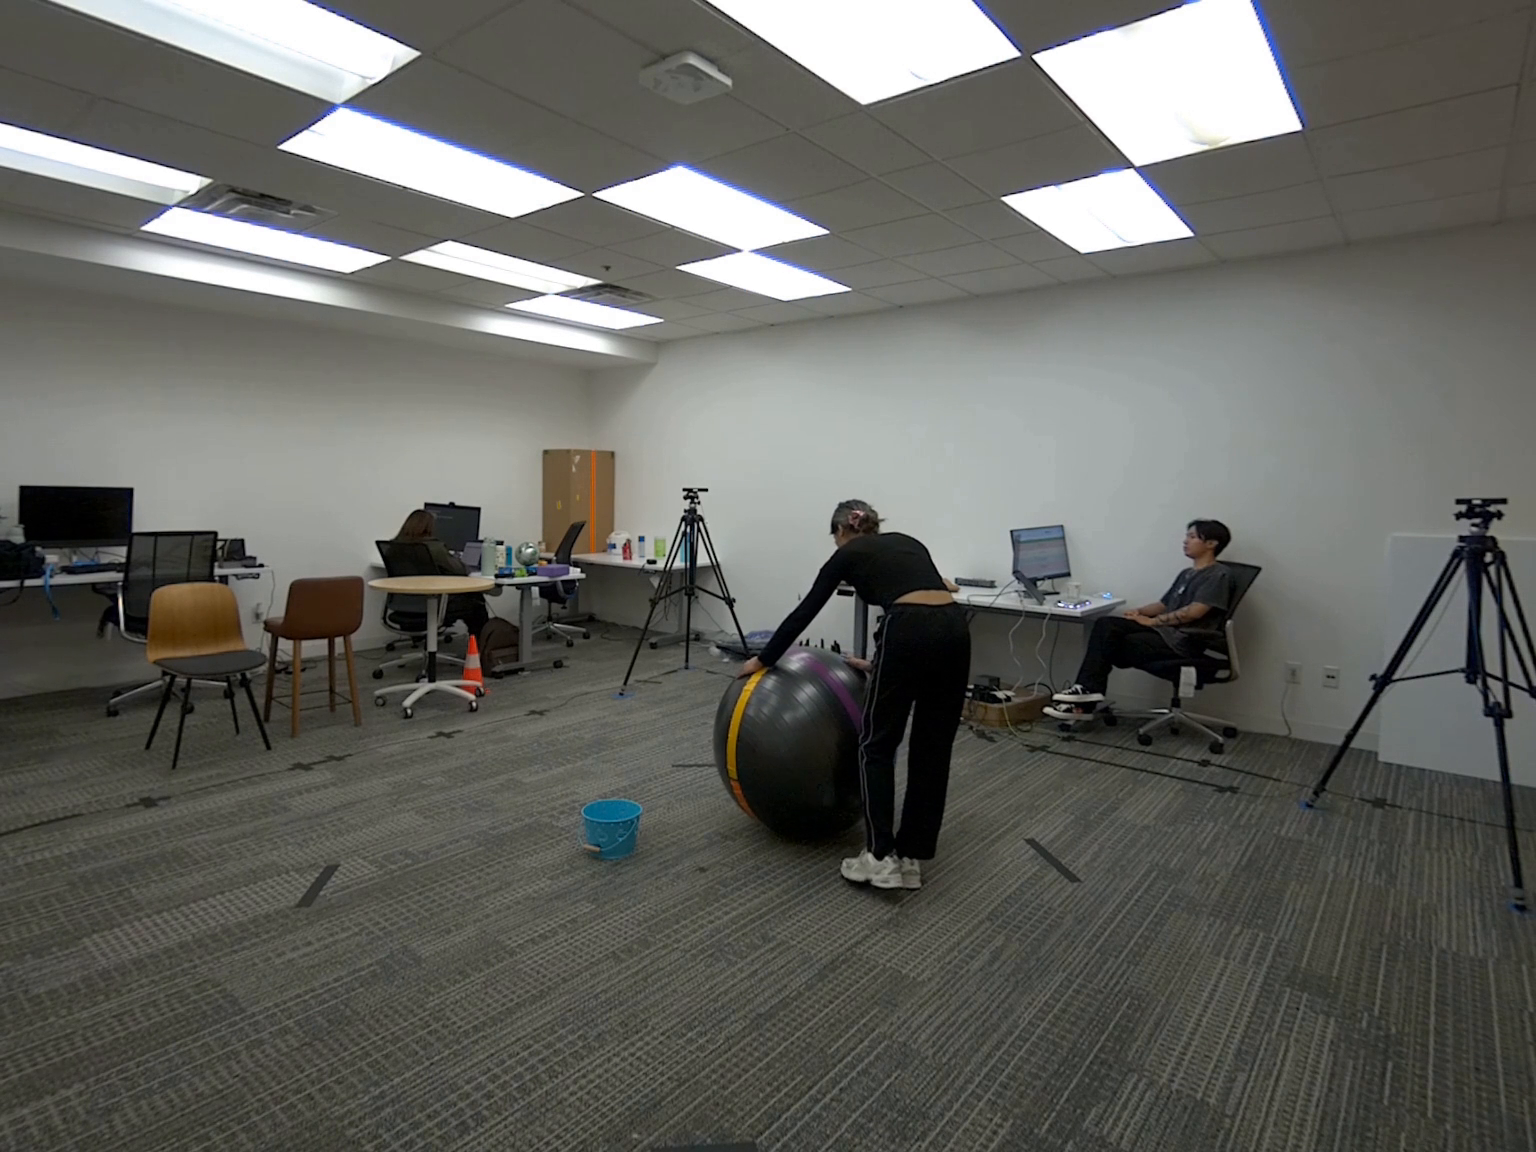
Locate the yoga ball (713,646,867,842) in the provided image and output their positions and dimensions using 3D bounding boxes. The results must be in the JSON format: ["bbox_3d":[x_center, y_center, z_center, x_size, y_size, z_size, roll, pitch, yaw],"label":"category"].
[{"bbox_3d":[0.140,0.673,3.494,0.757,0.755,0.762,1,4,-2],"label":"yoga ball"}]
